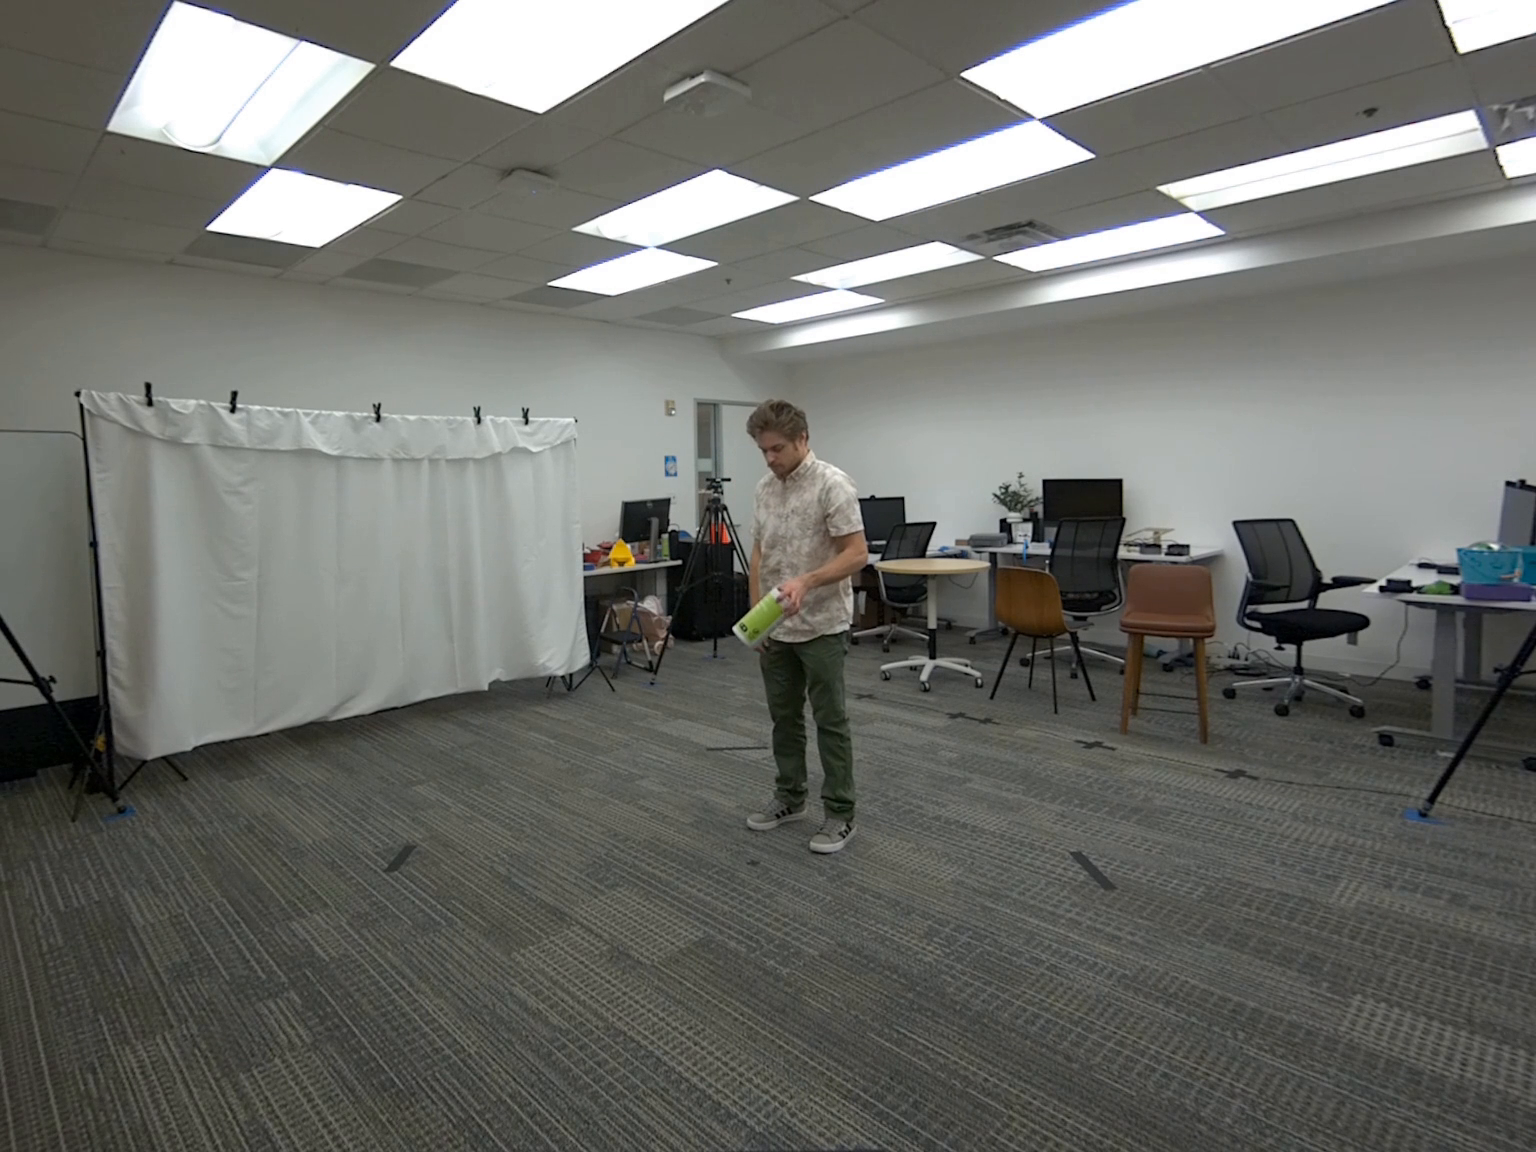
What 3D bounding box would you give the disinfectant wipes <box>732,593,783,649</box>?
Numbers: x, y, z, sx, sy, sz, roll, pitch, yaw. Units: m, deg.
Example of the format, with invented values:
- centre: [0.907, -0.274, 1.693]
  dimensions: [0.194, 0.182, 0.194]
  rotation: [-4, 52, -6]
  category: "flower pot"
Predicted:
- centre: [-0.022, 0.150, 3.020]
  dimensions: [0.117, 0.217, 0.118]
  rotation: [41, 3, -5]
  category: "disinfectant wipes"
